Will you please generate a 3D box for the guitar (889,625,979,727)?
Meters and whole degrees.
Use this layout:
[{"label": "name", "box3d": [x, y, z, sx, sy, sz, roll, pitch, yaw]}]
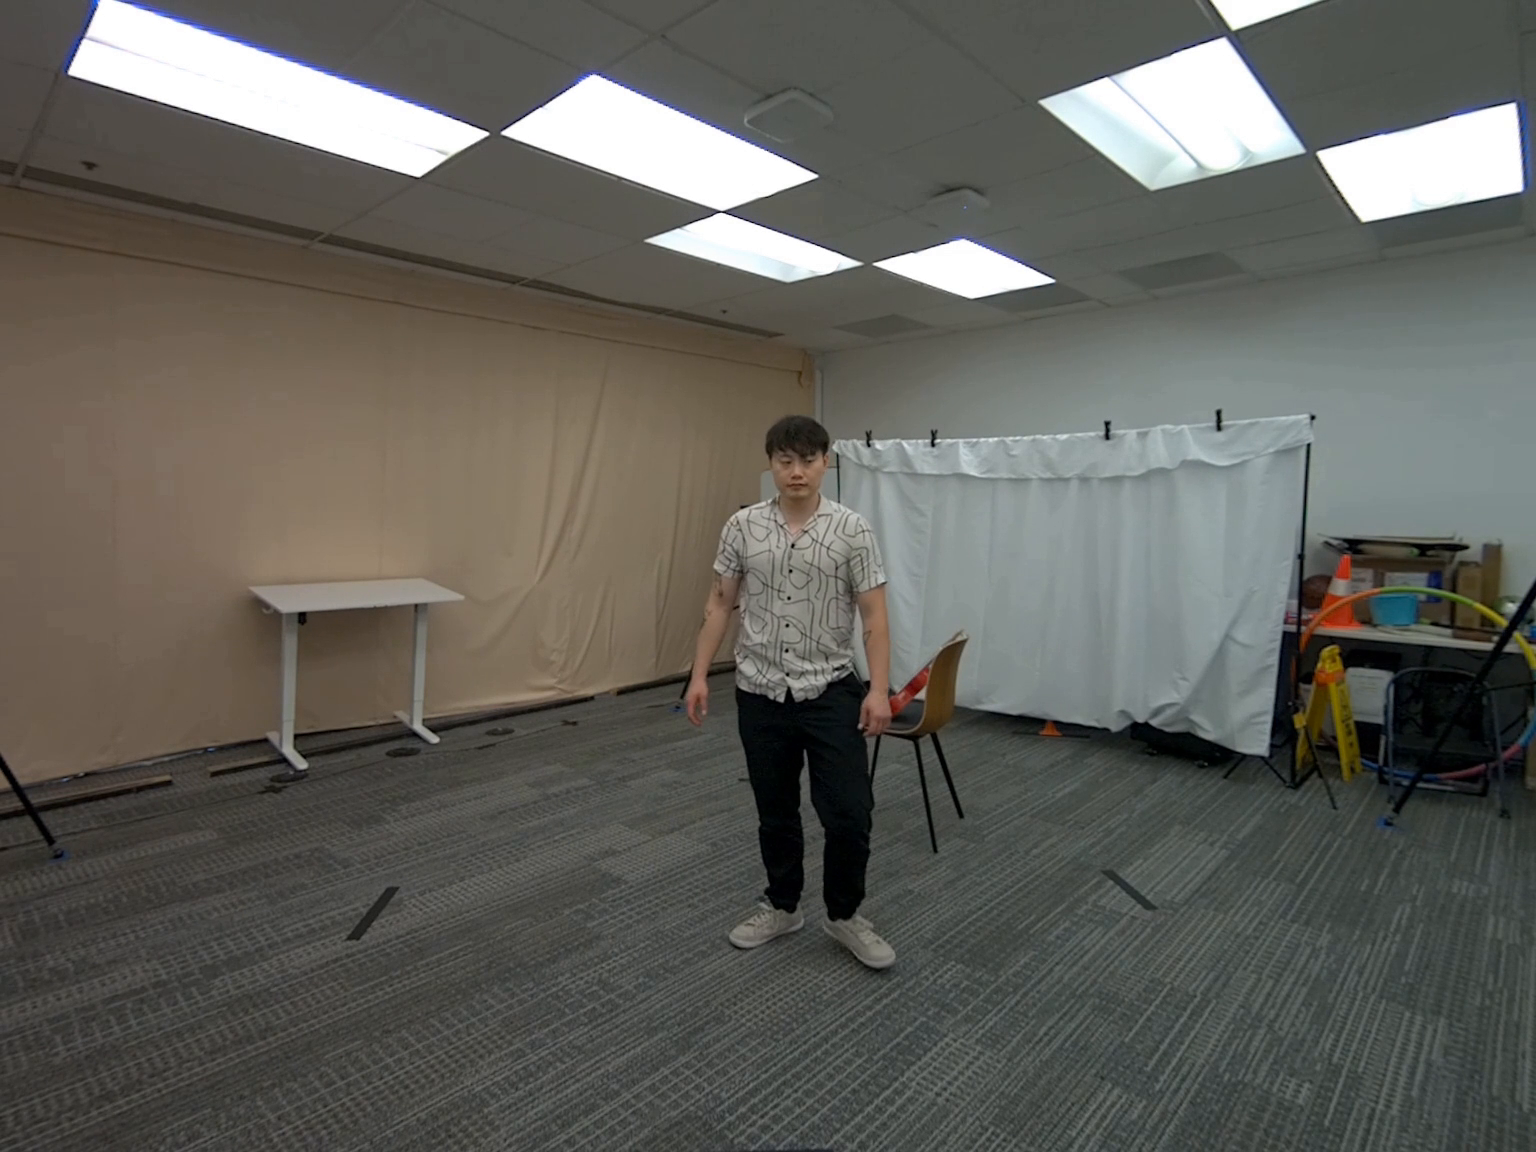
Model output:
[{"label": "guitar", "box3d": [0.664, 0.420, 3.551, 0.072, 0.499, 0.189, 45, 26, 13]}]
